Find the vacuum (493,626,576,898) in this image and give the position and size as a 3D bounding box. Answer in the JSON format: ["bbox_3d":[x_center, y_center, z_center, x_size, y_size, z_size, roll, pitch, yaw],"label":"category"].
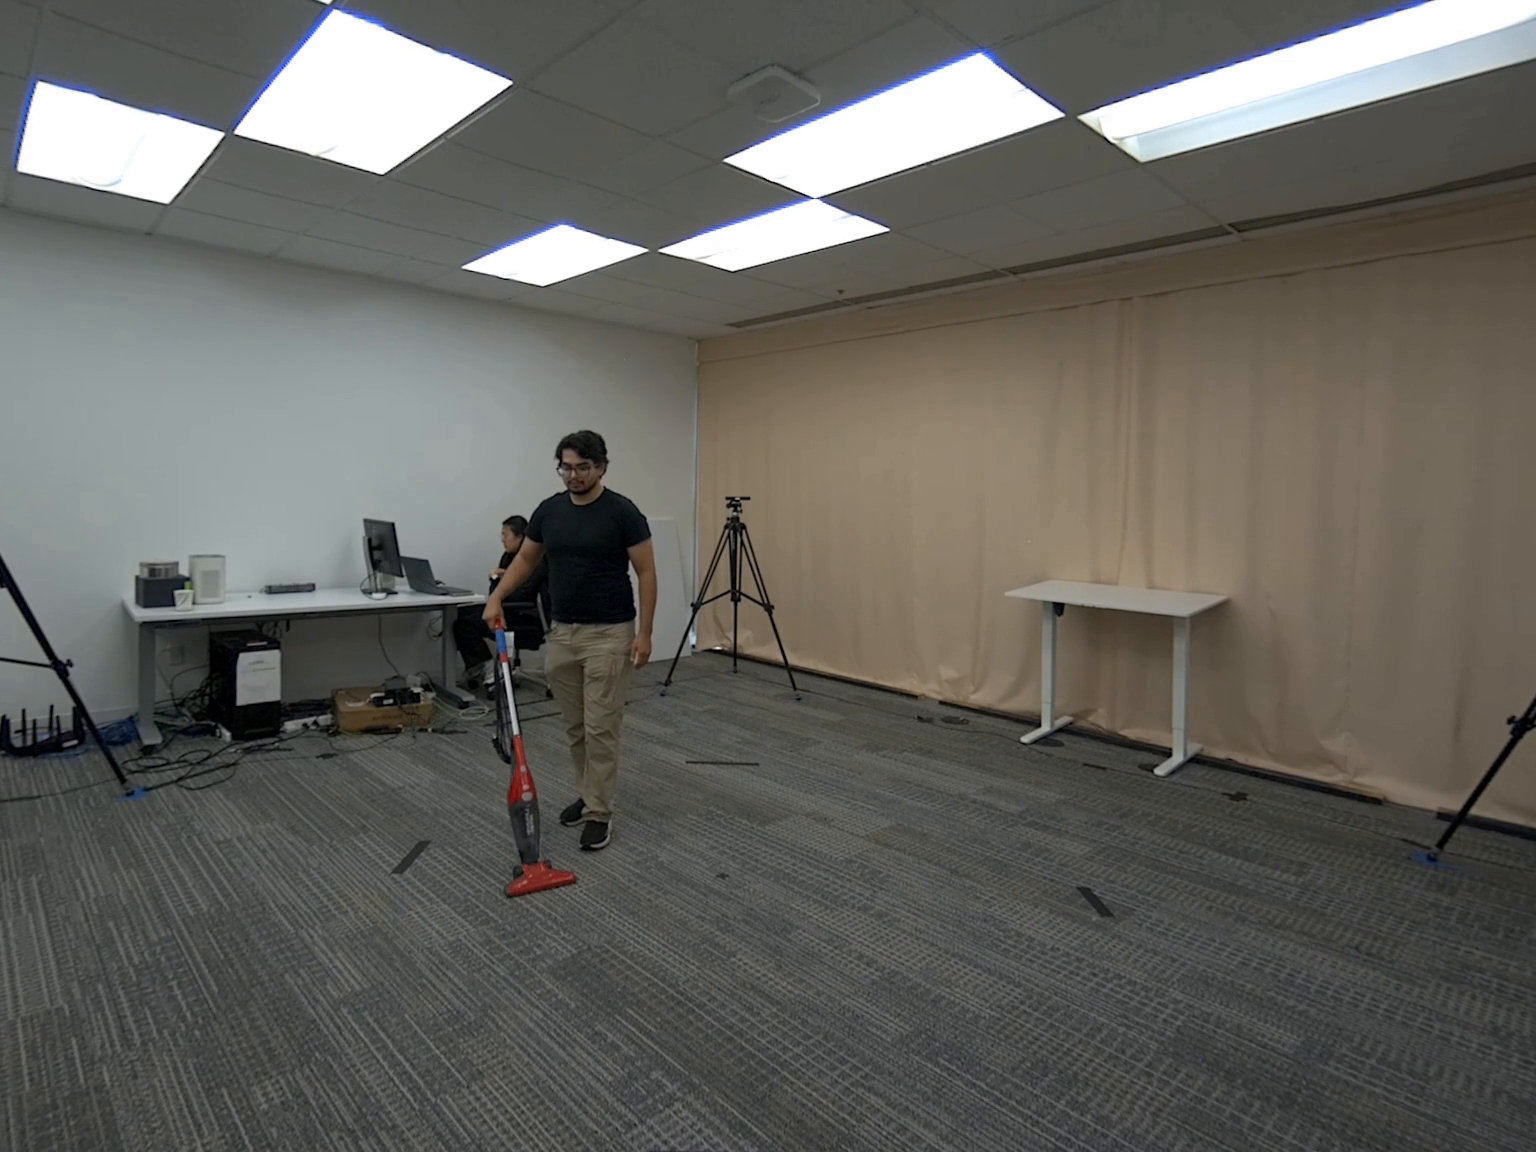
[{"bbox_3d":[-0.978,0.635,3.224,0.247,1.072,0.144,1,-31,-34],"label":"vacuum"}]
